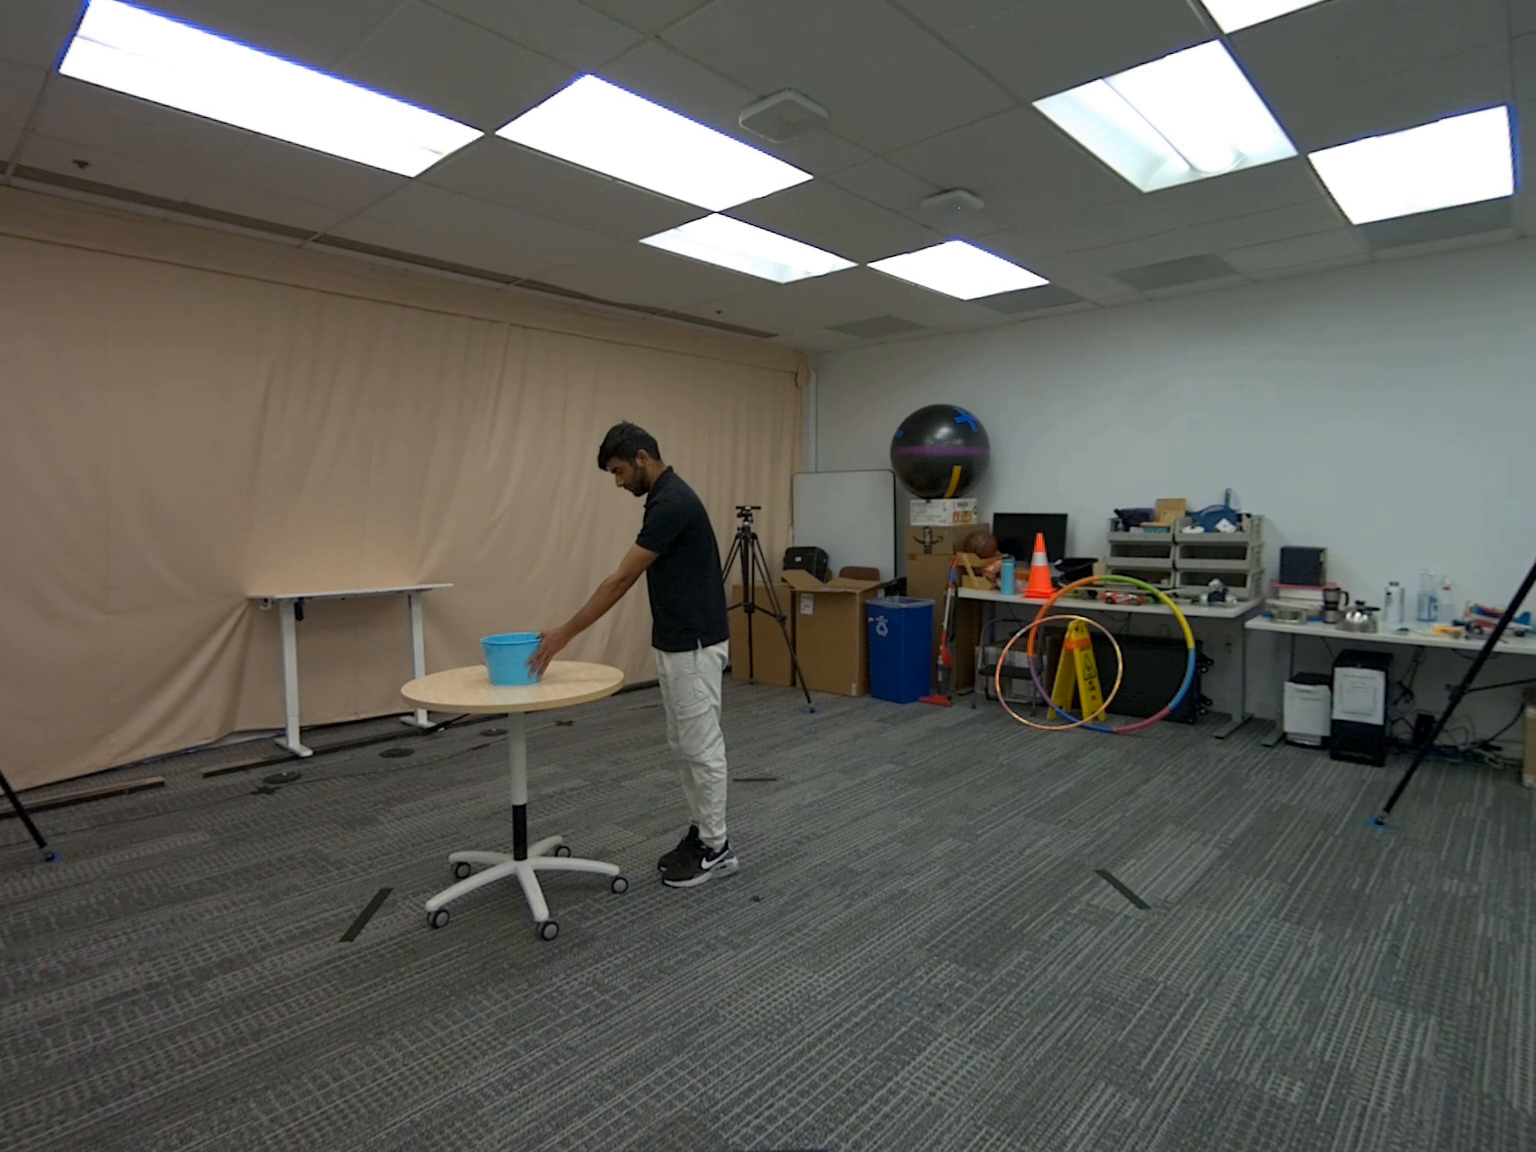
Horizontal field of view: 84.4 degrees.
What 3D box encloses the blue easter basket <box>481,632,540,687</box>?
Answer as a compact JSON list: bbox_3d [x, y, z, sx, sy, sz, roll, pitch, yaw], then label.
[{"bbox_3d":[-0.899,0.295,2.983,0.243,0.155,0.245,-1,5,-2],"label":"blue easter basket"}]
